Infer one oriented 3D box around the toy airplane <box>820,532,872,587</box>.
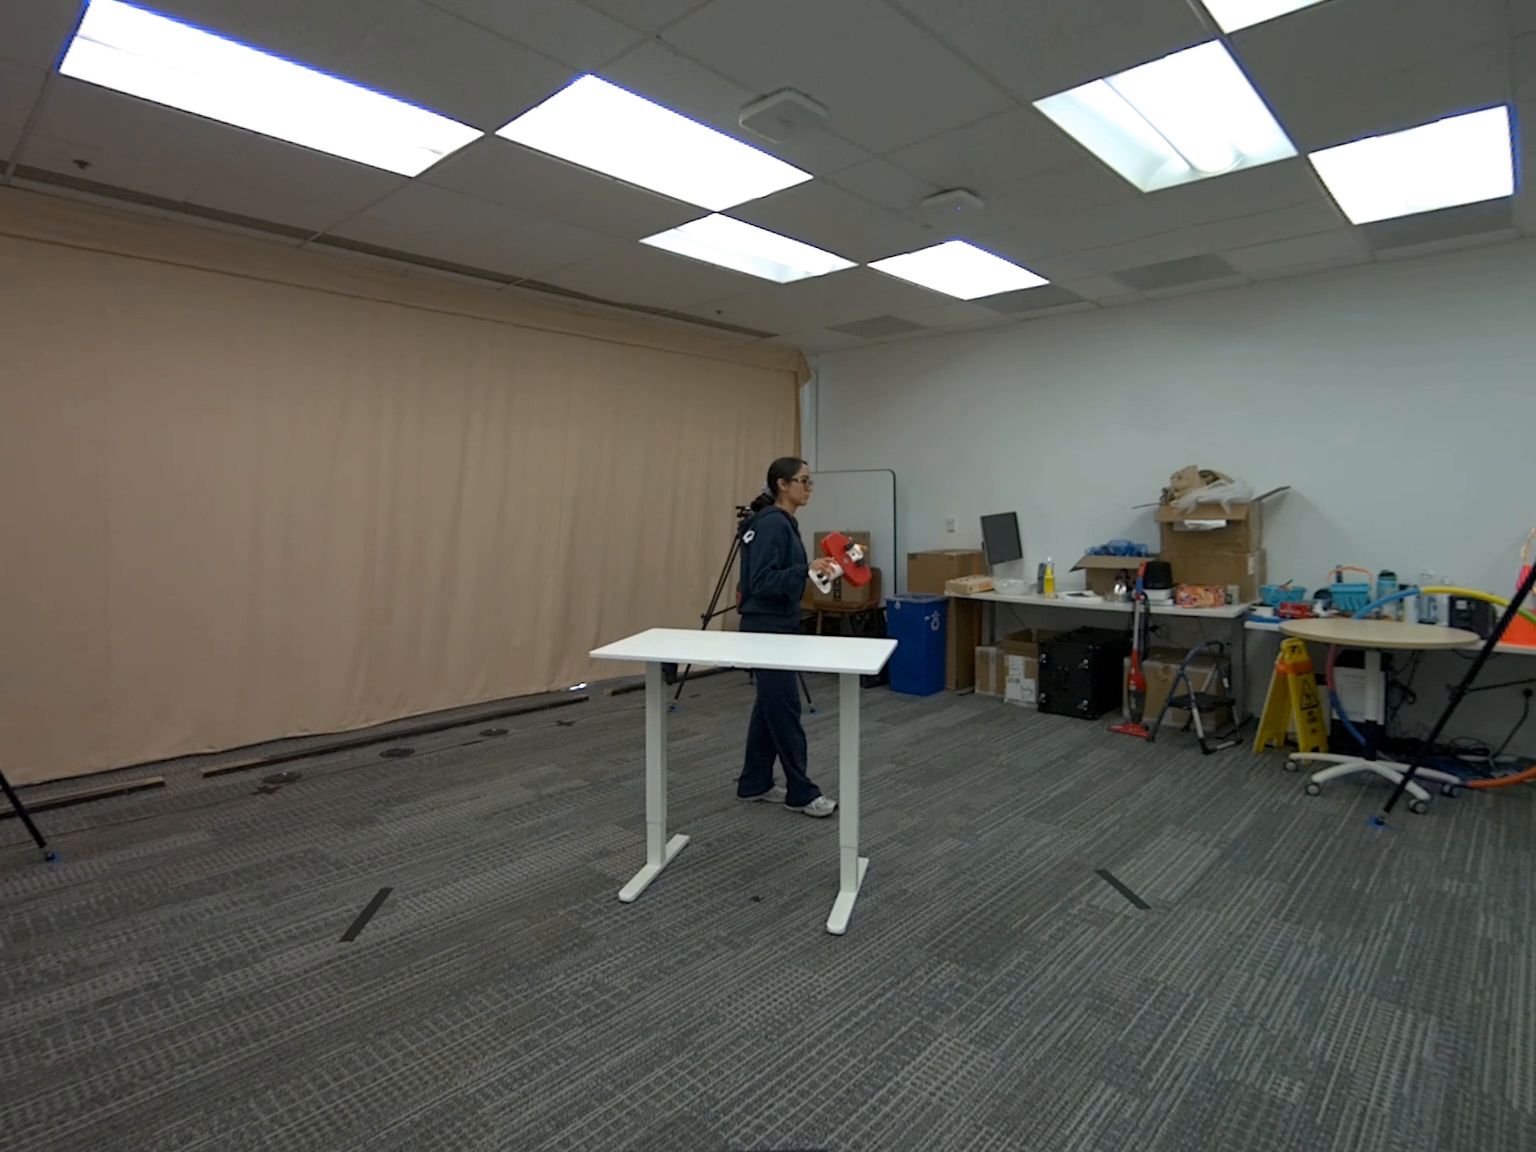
[{"bbox_3d":[0.308,-0.068,3.586,0.260,0.251,0.156,-10,0,2],"label":"toy airplane"}]
